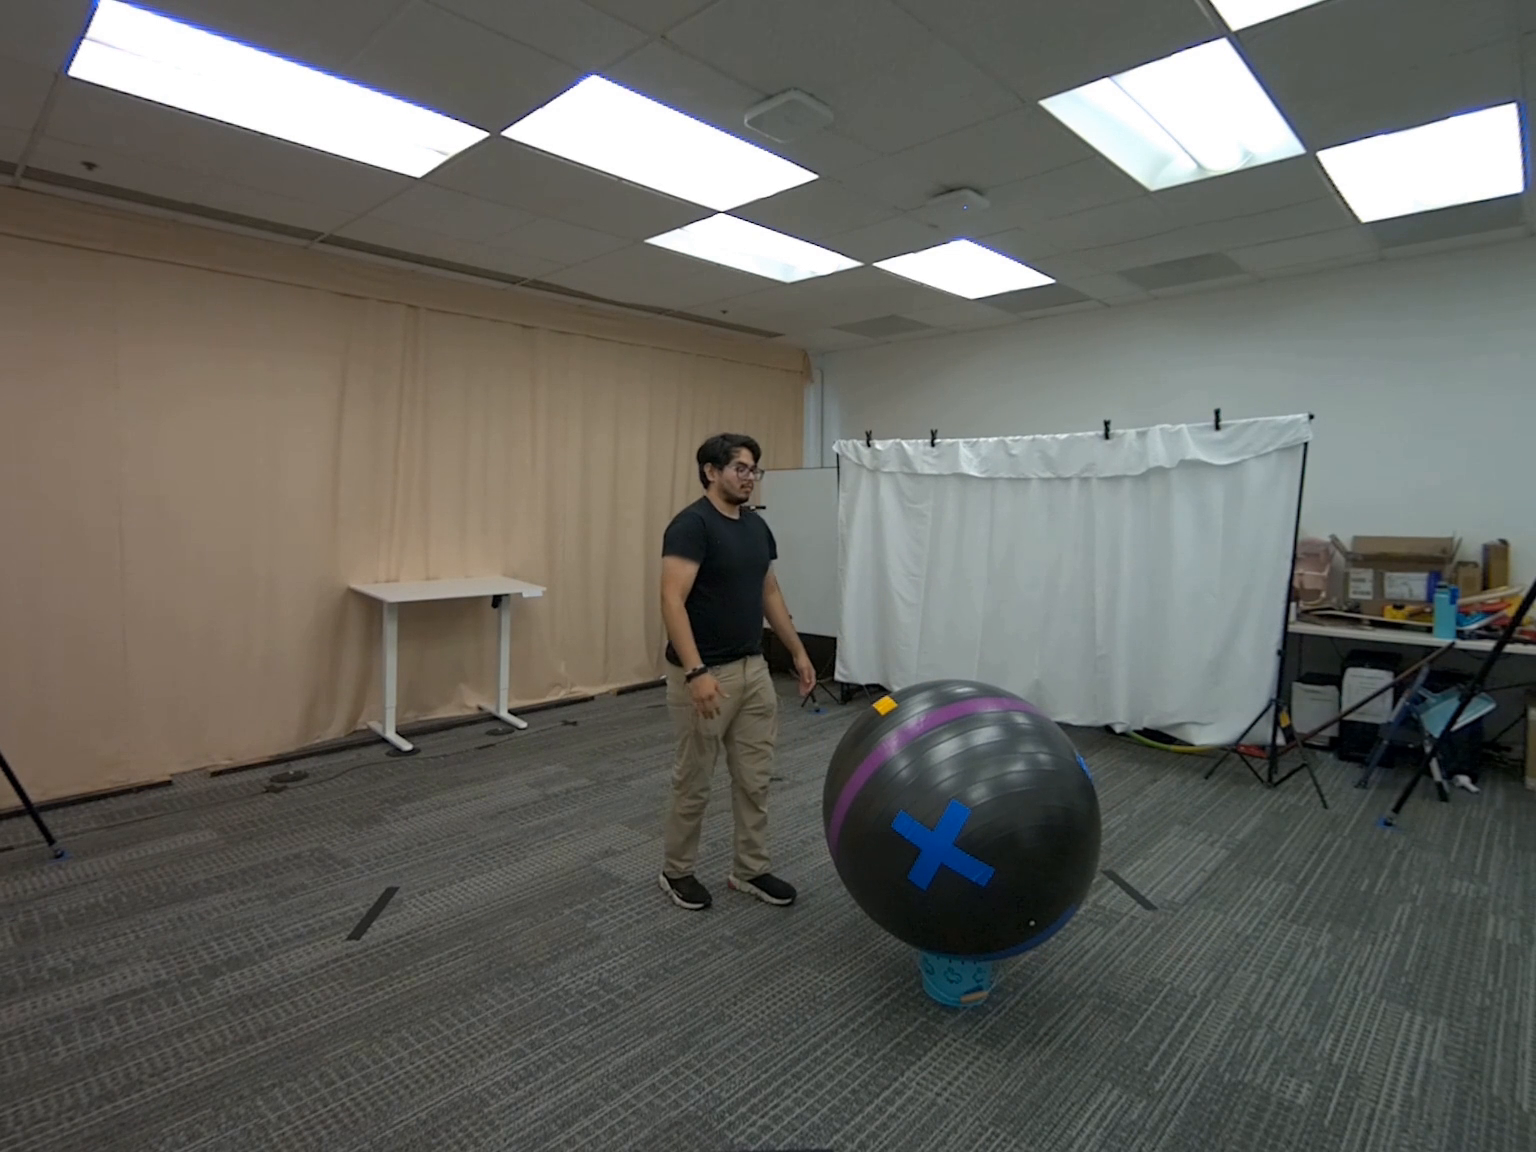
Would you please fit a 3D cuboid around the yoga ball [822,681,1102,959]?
[{"bbox_3d":[0.542,0.680,2.407,0.757,0.756,0.760,0,4,-2],"label":"yoga ball"}]
